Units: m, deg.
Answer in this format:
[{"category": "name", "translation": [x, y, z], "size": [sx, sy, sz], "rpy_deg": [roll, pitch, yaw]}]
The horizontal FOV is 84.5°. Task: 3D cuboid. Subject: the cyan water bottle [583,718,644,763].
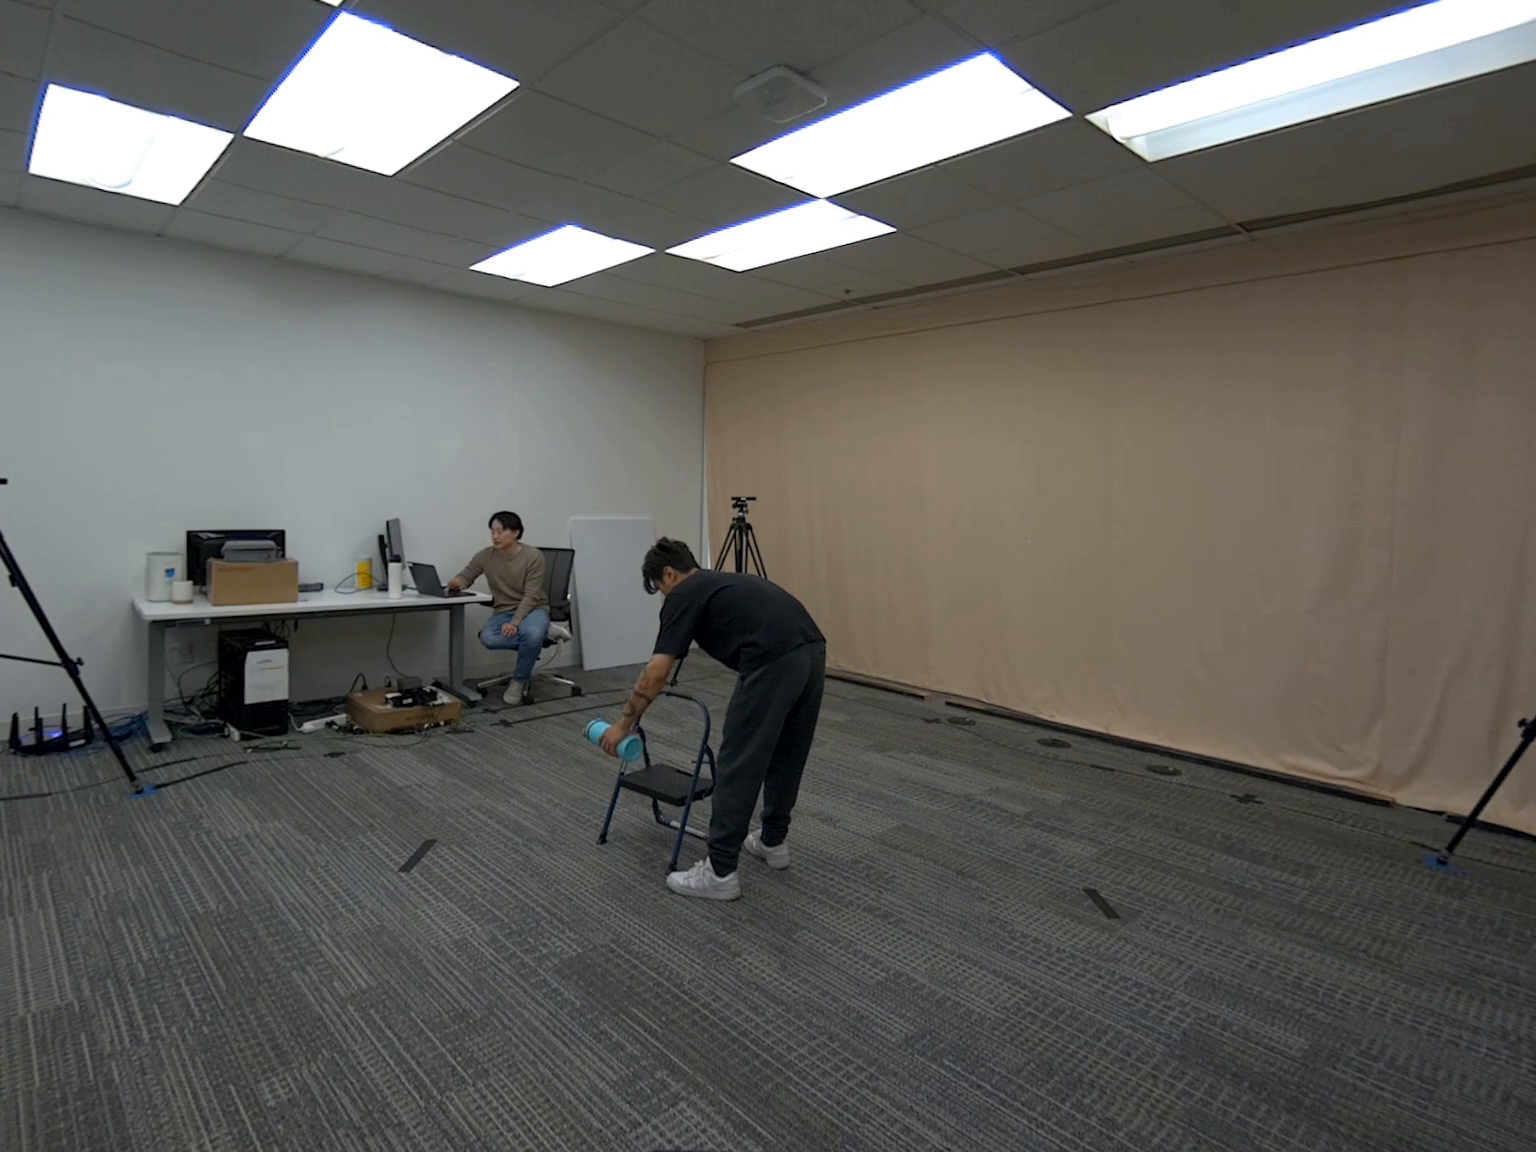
[{"category": "cyan water bottle", "translation": [-0.571, 0.594, 3.090], "size": [0.291, 0.092, 0.090], "rpy_deg": [11, 9, 44]}]
